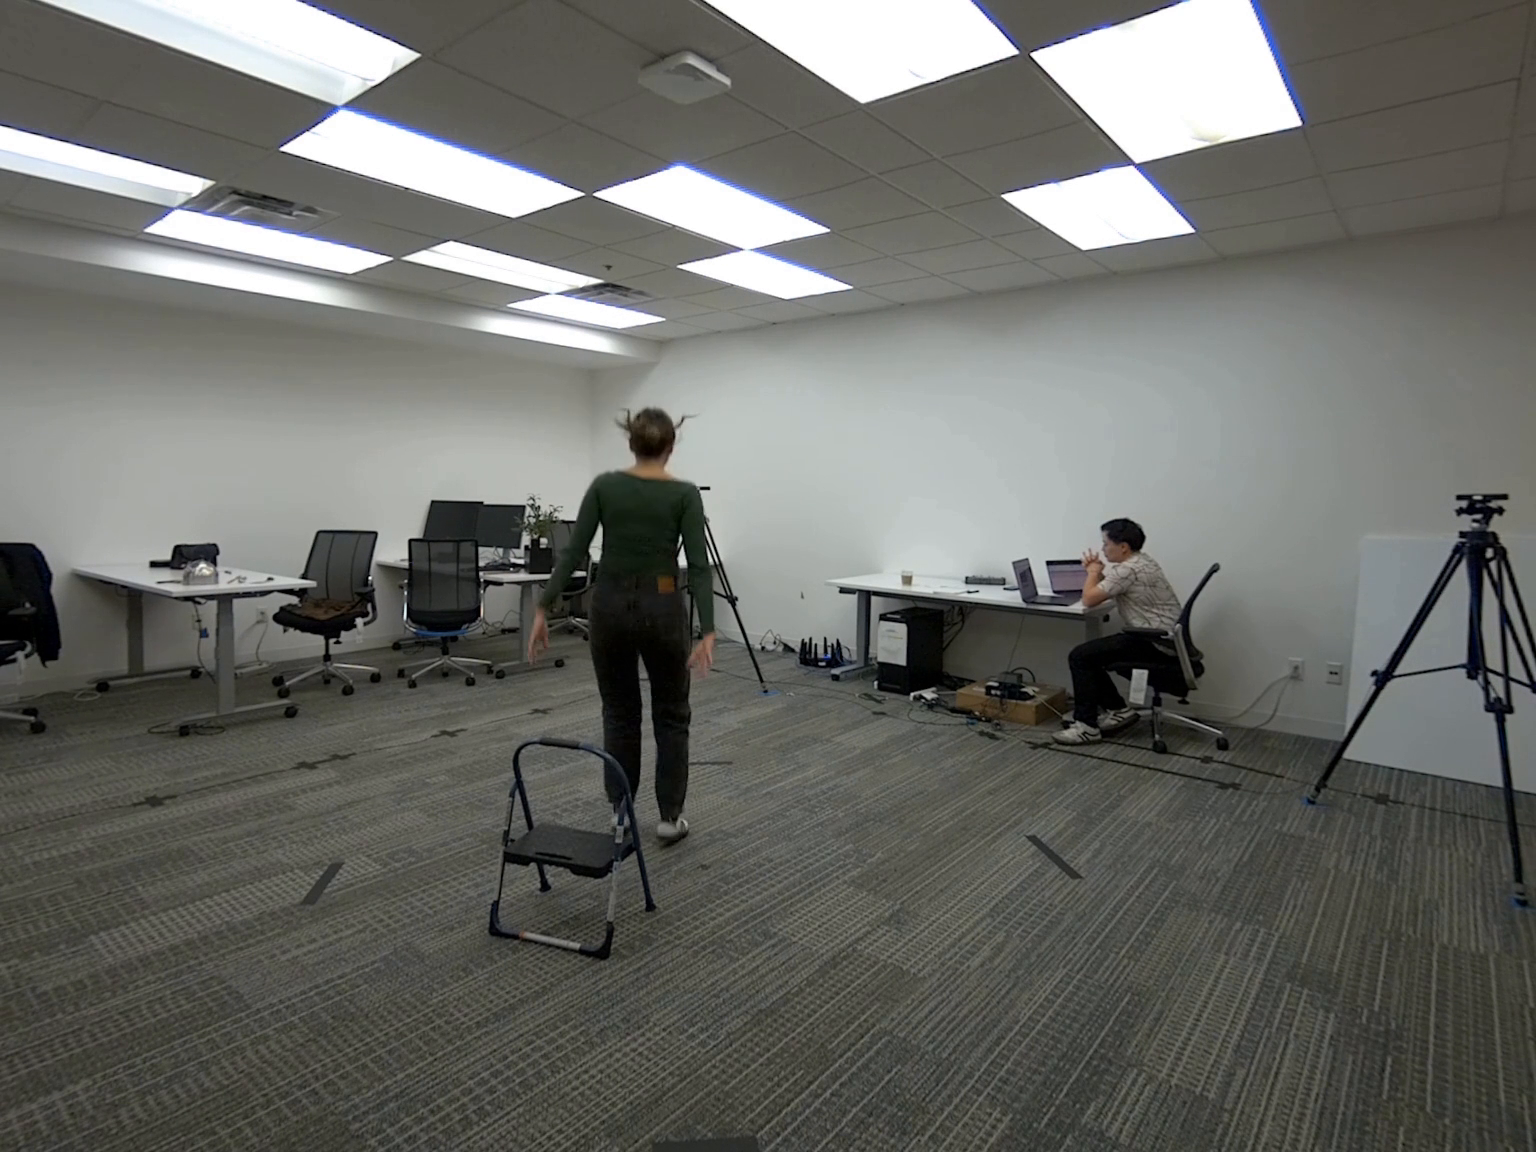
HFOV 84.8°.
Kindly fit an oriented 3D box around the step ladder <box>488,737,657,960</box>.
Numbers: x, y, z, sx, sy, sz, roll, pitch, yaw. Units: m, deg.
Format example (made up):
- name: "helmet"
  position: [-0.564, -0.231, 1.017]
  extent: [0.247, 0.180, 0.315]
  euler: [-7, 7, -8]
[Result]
- name: "step ladder"
  position: [-0.632, 0.798, 2.699]
  extent: [0.439, 0.604, 0.344]
  euler: [2, 4, 18]
